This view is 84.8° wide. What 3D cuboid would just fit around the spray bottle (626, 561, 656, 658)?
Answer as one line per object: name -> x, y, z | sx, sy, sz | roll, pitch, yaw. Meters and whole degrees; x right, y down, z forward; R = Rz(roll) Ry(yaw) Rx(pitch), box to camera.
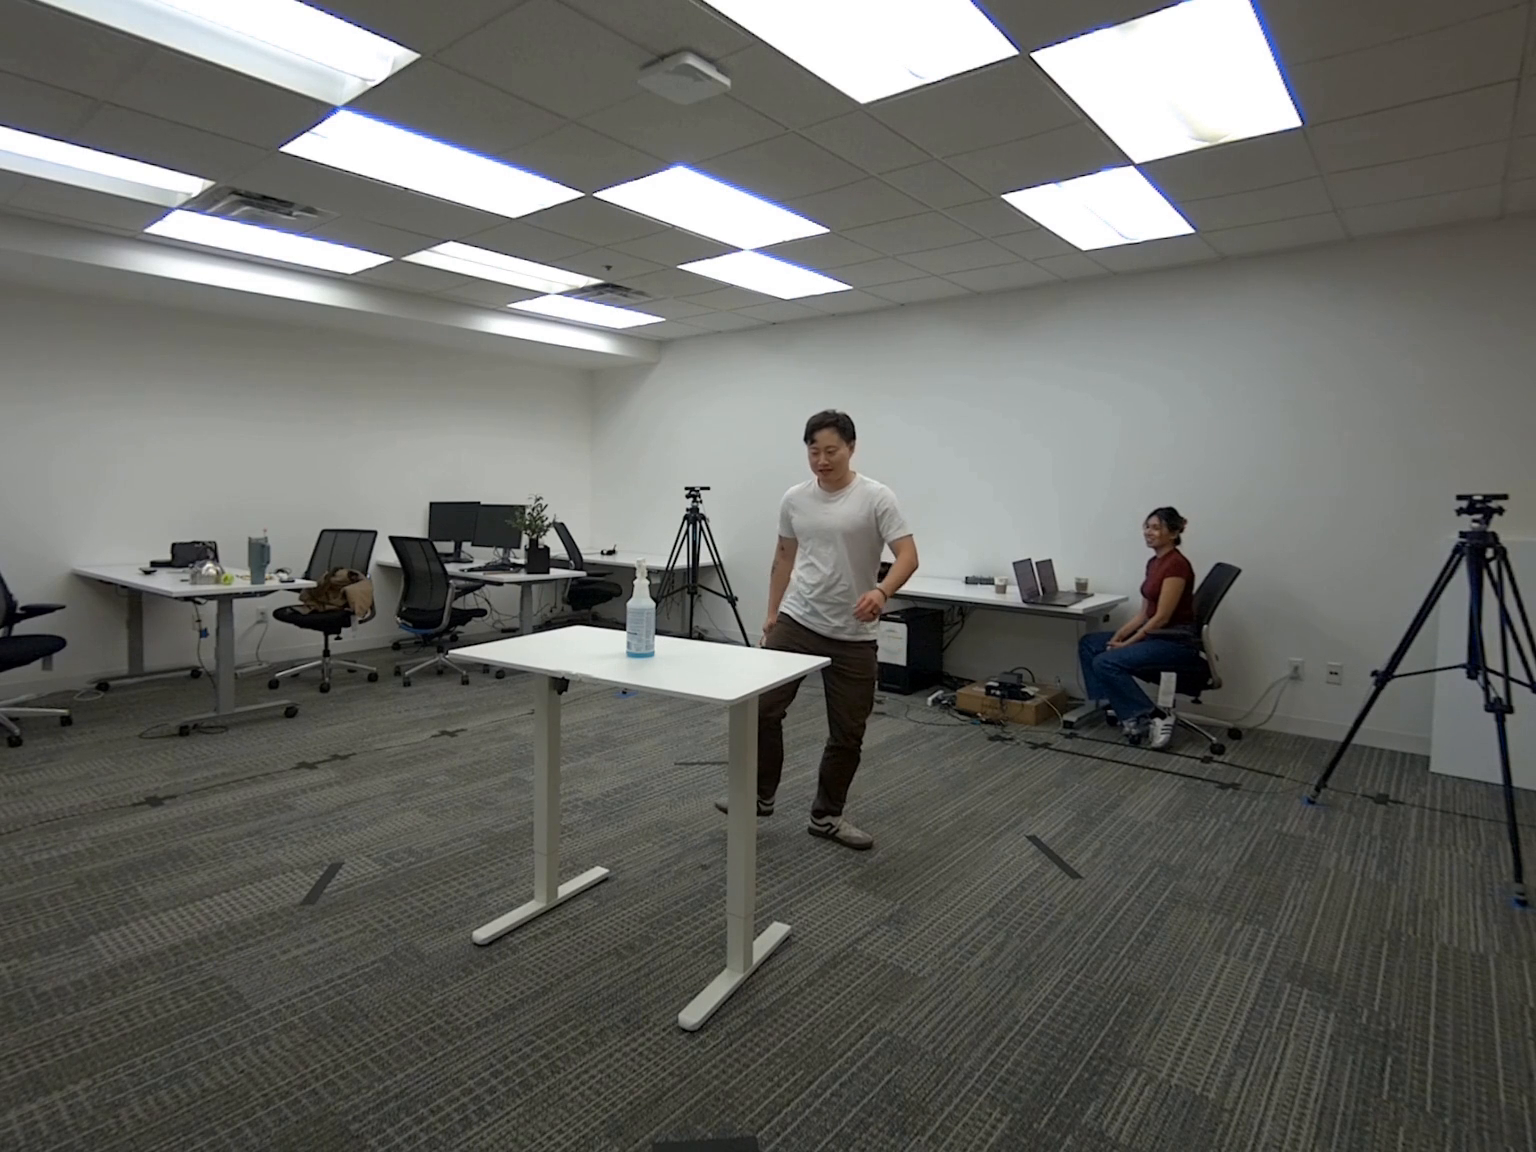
spray bottle -> -0.392, 0.093, 2.554 | 0.089, 0.296, 0.088 | 4, 5, 26
